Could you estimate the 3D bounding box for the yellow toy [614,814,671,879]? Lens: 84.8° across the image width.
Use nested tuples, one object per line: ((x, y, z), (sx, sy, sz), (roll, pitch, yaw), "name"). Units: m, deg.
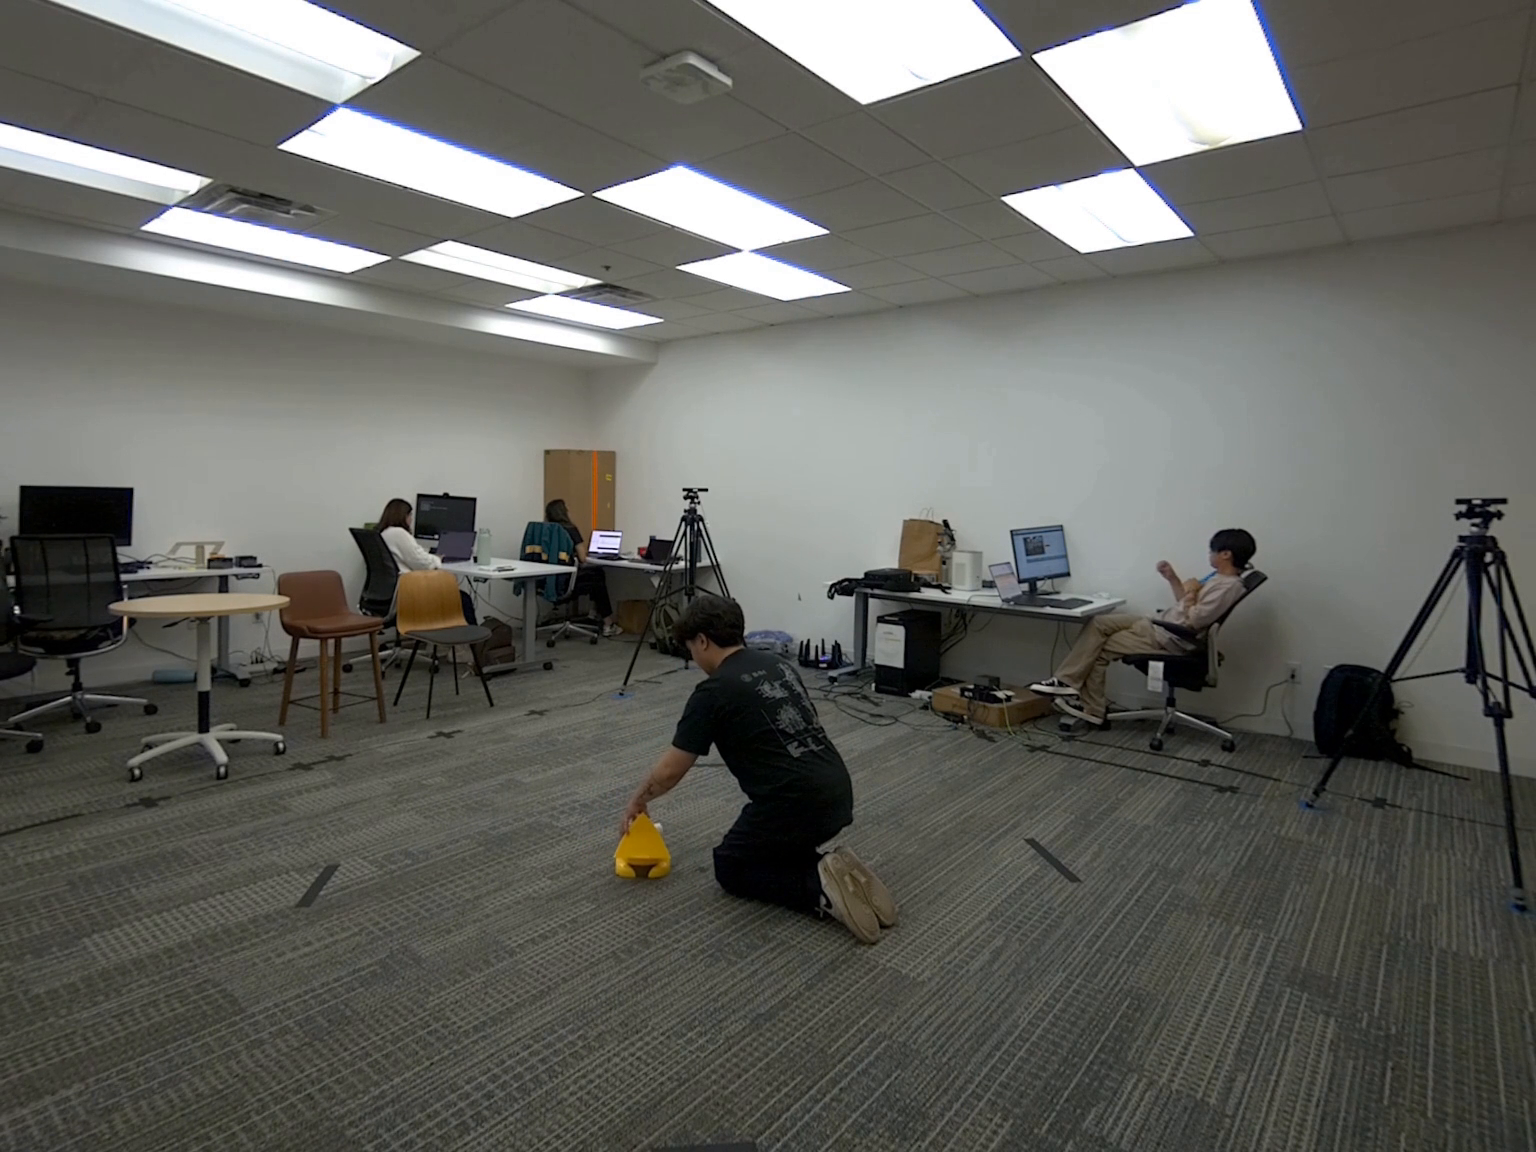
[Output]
((-0.466, 0.954, 3.105), (0.204, 0.230, 0.194), (1, 5, -3), "yellow toy")
